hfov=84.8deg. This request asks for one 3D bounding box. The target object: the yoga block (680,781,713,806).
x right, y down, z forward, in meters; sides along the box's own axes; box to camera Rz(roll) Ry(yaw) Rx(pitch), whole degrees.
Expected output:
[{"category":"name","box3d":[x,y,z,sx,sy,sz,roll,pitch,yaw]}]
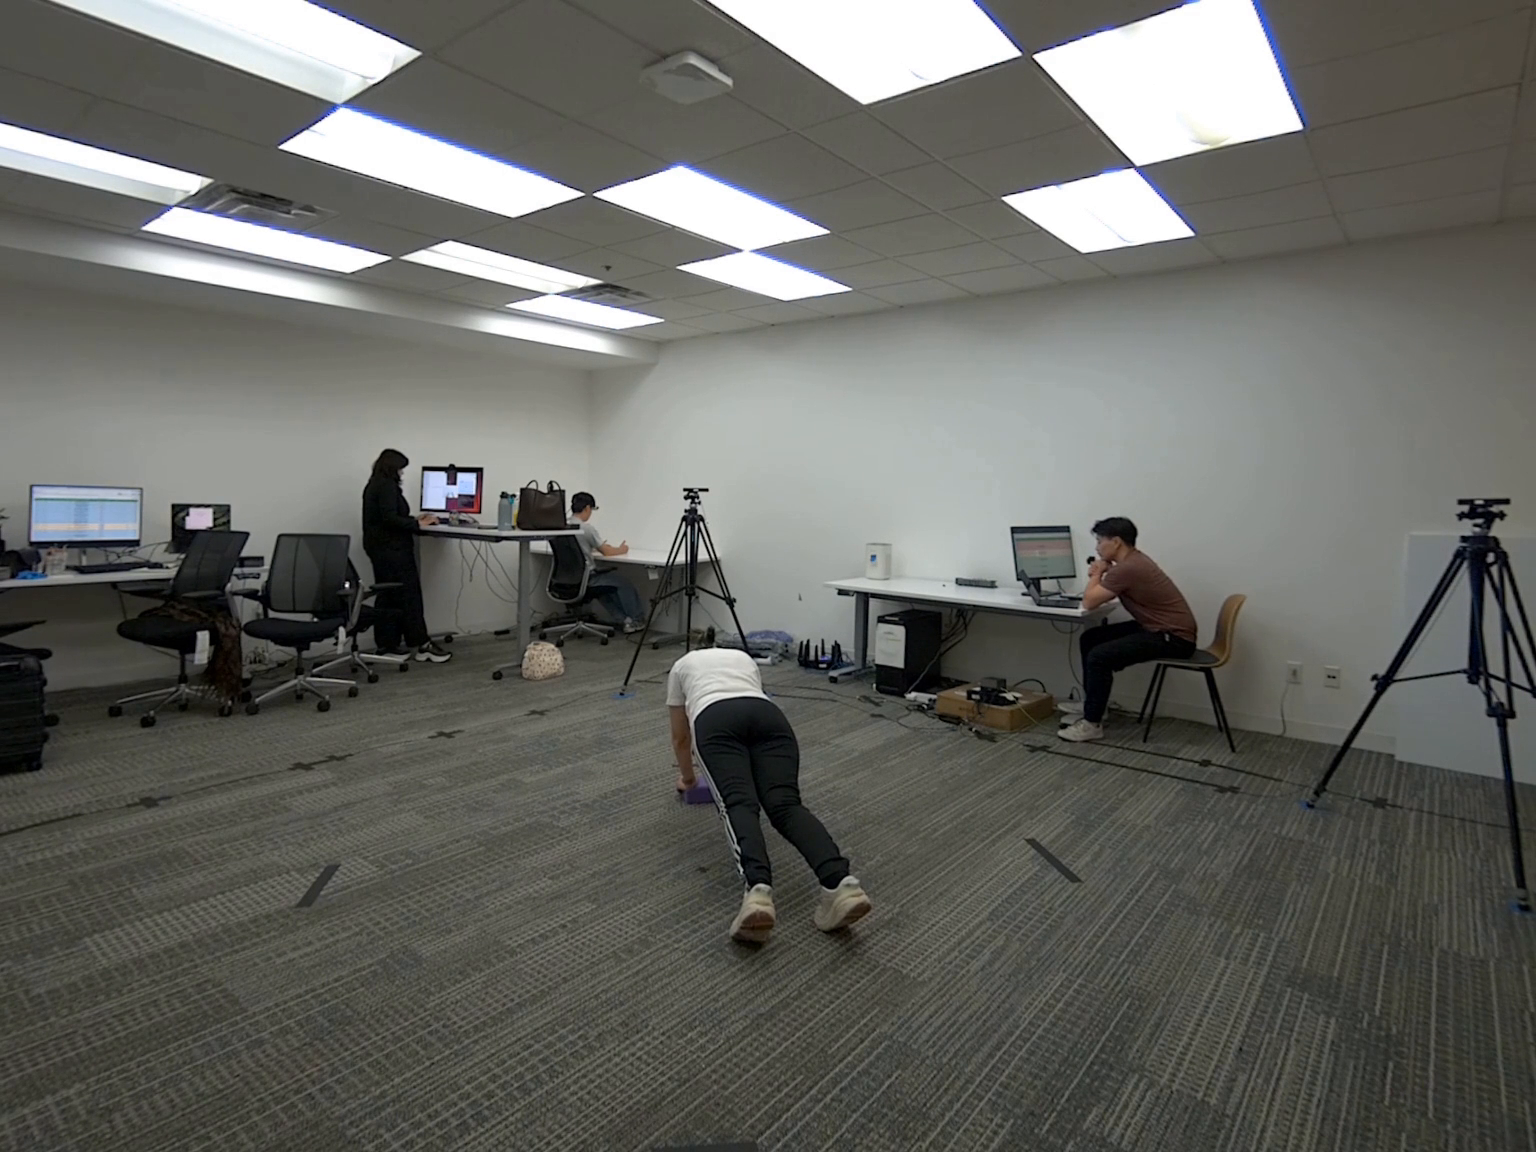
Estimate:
[{"category":"yoga block","box3d":[-0.275,0.958,3.837,0.226,0.076,0.152,-2,5,-14]}]
